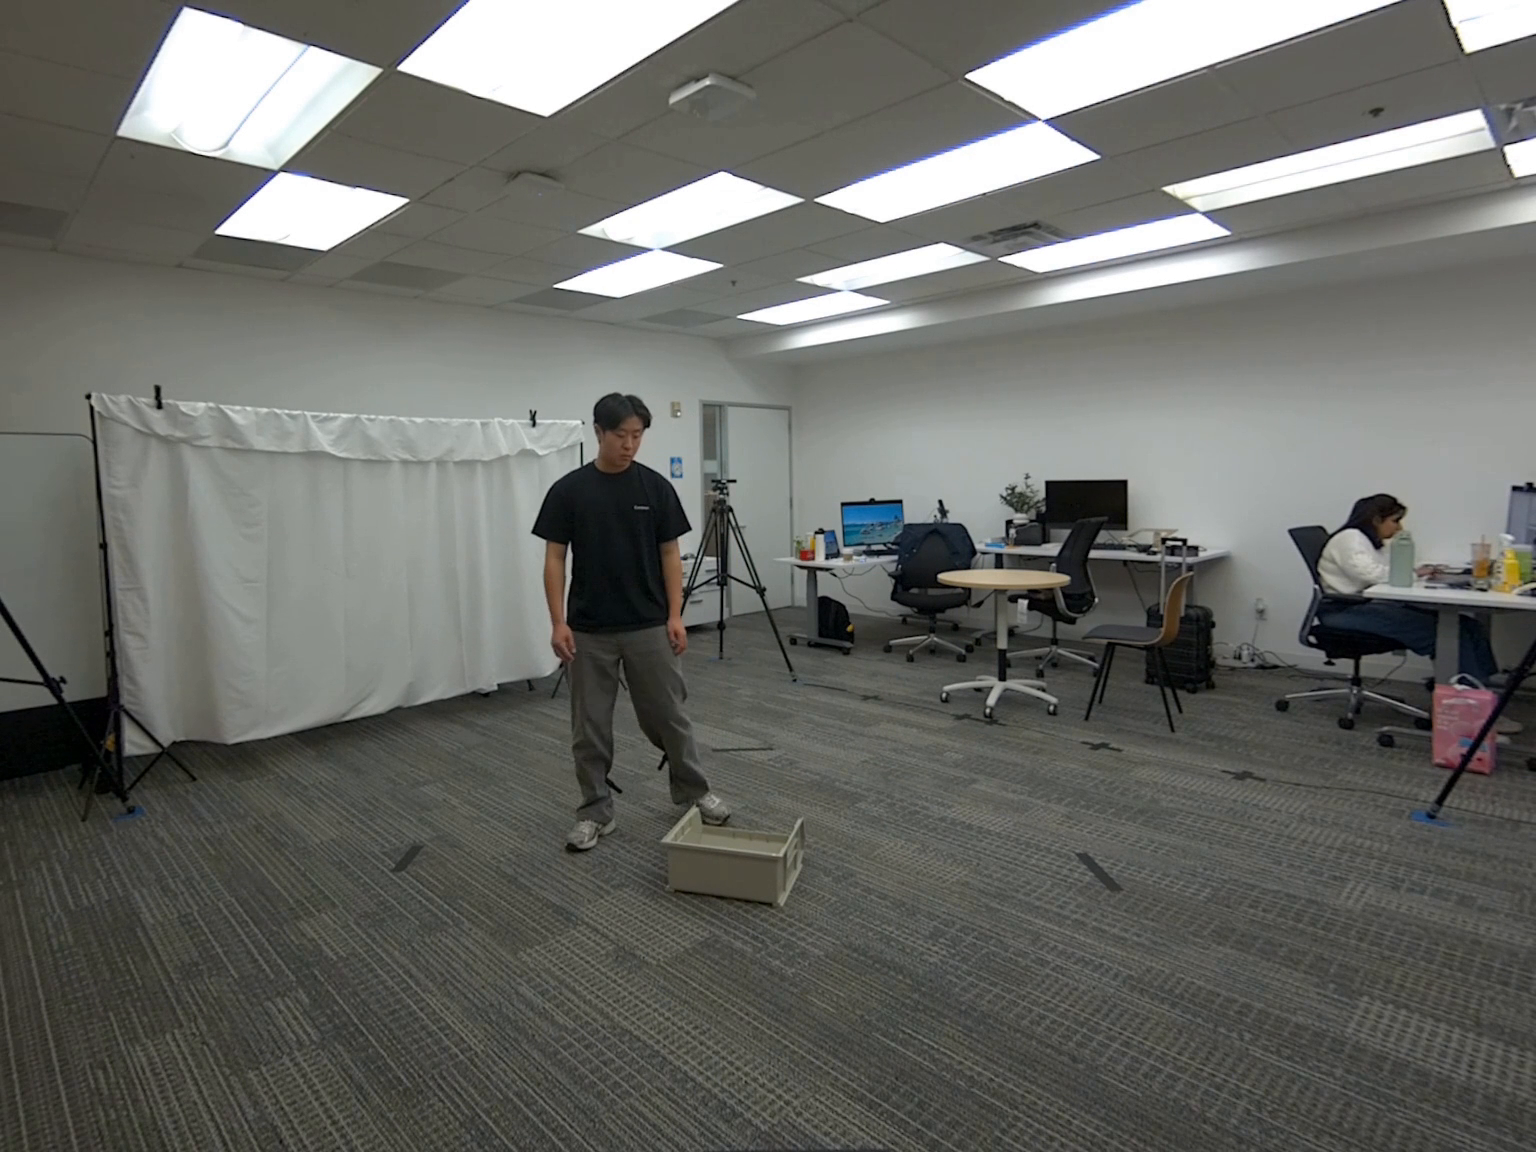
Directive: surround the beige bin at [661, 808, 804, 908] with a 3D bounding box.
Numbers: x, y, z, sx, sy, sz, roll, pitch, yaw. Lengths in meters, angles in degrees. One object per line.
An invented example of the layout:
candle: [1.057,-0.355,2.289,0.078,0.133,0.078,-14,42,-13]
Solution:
beige bin: [-0.111,0.973,3.009,0.429,0.188,0.373,1,7,16]
